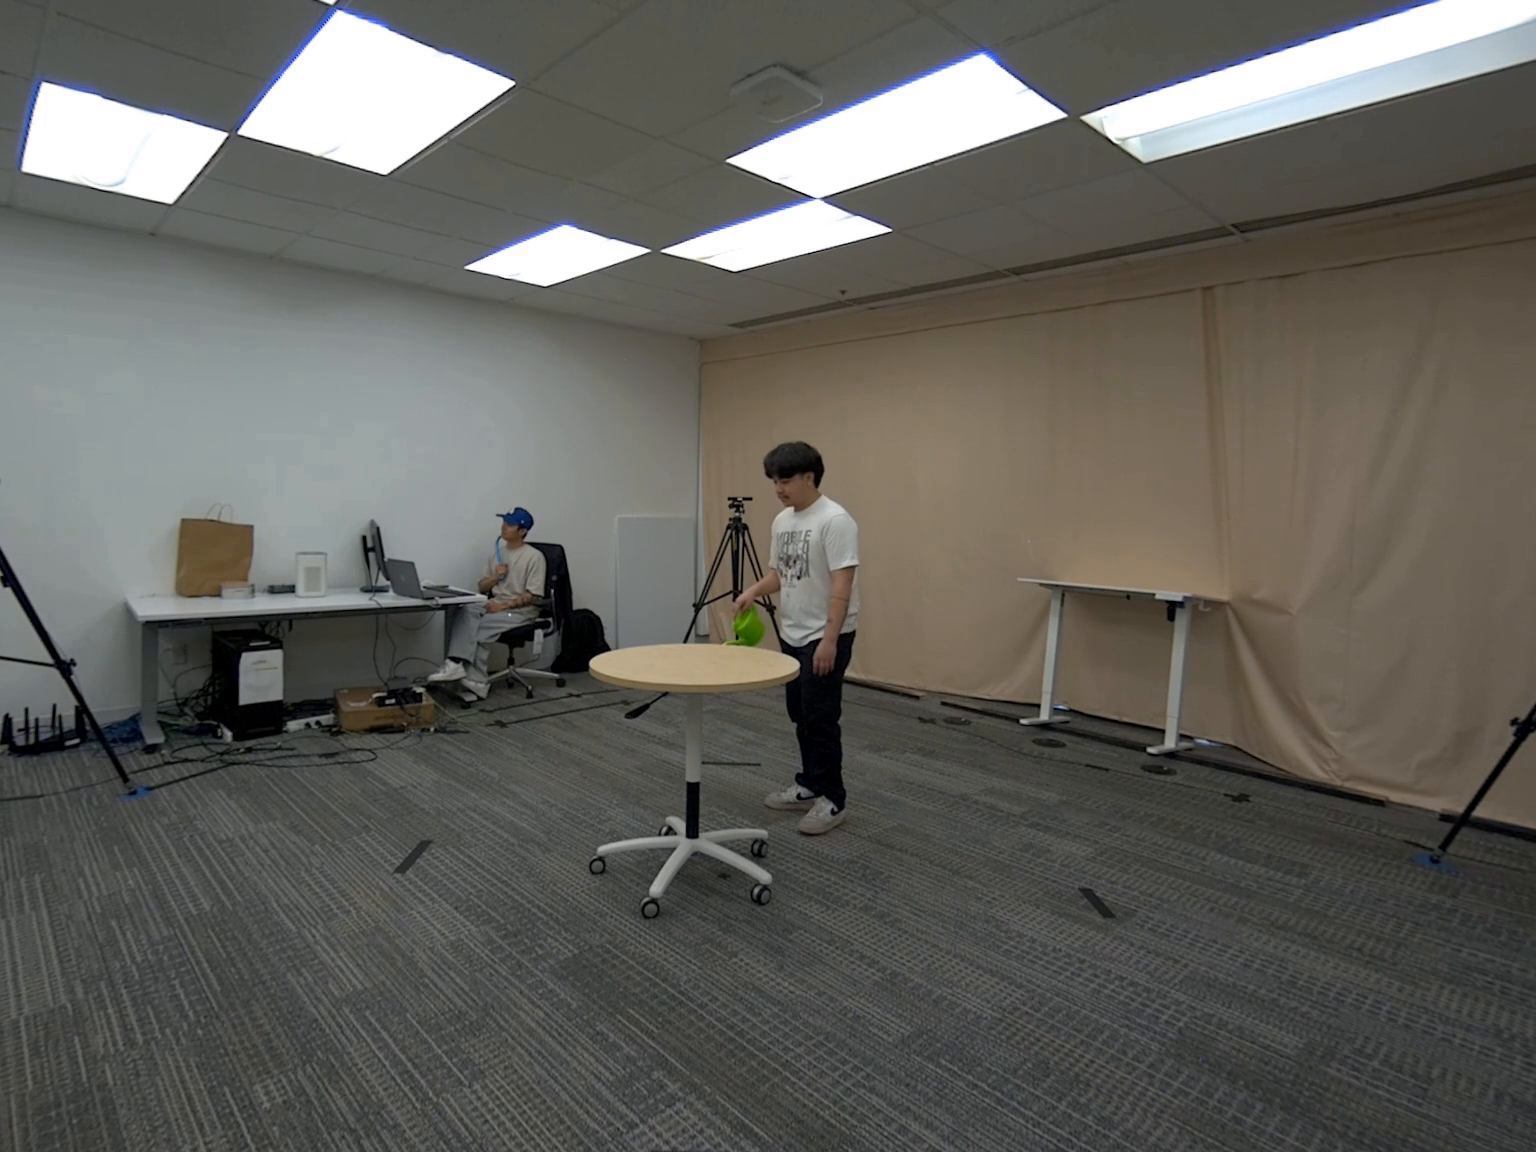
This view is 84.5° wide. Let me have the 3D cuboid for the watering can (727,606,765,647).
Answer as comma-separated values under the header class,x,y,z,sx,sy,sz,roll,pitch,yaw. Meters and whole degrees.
class,x,y,z,sx,sy,sz,roll,pitch,yaw
watering can,-0.123,0.252,3.773,0.101,0.279,0.171,17,-27,45
